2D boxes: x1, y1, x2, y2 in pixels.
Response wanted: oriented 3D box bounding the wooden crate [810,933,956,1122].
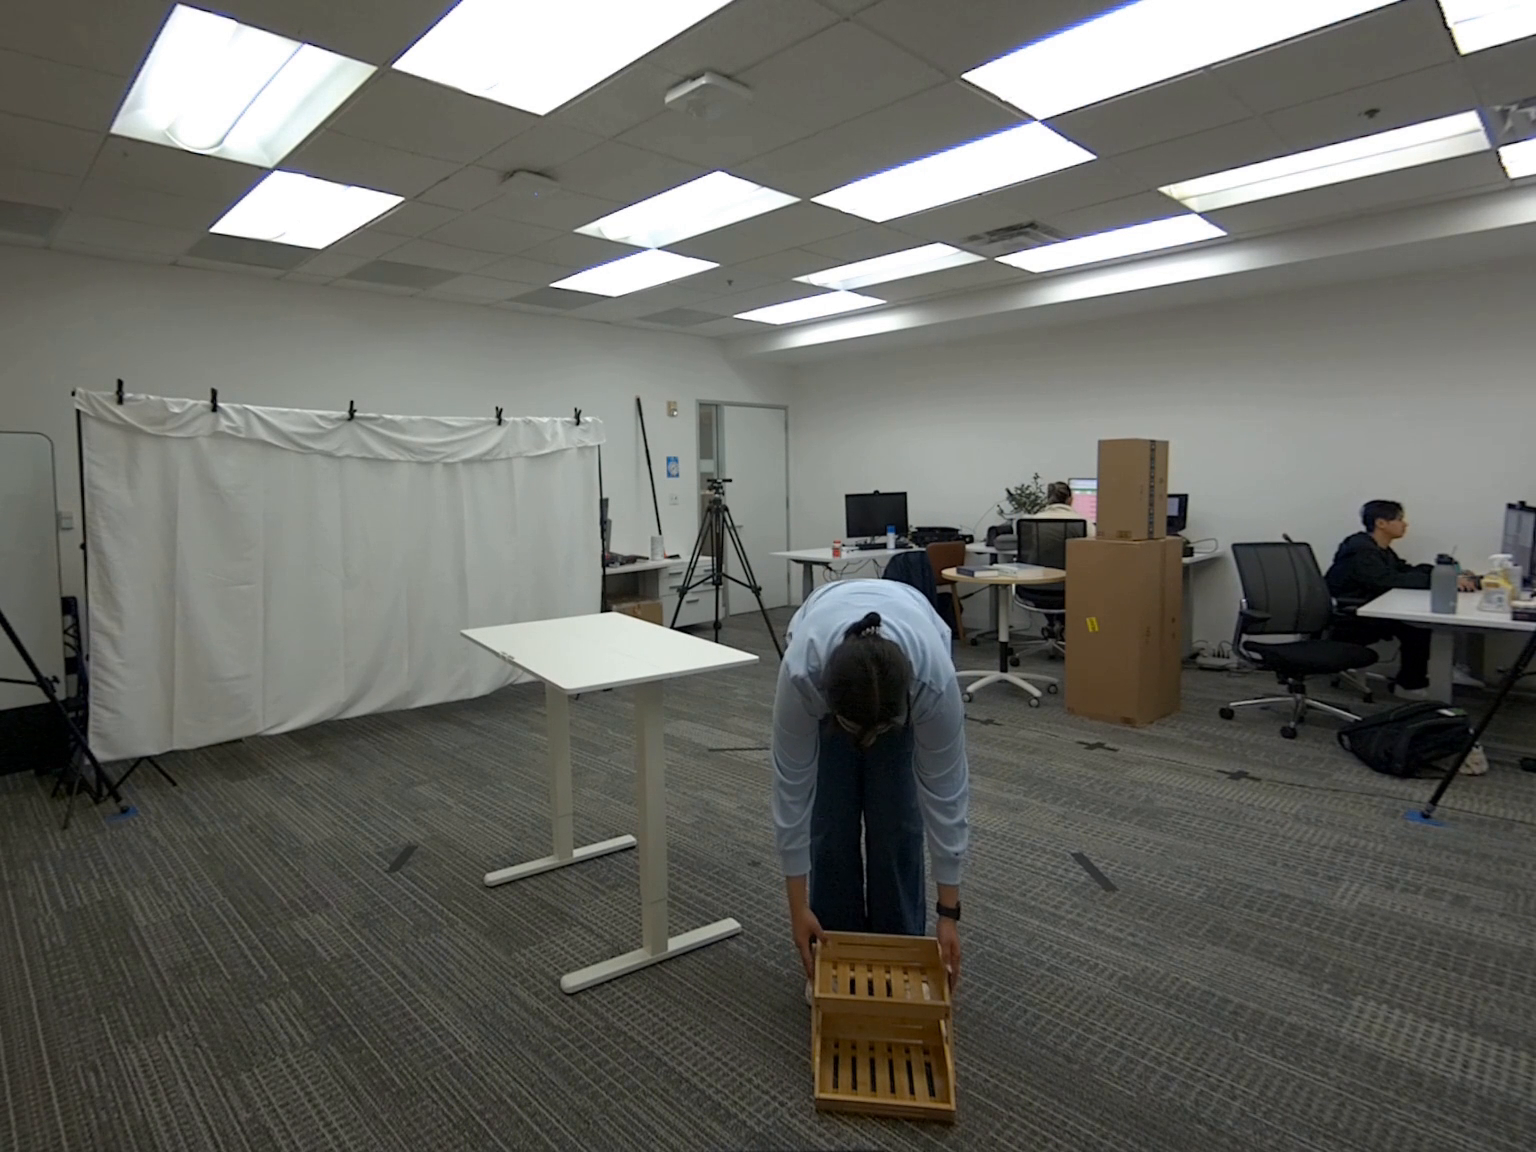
[{"bbox_3d":[0.272,1.043,1.988,0.327,0.272,0.301,-1,4,7],"label":"wooden crate"}]
